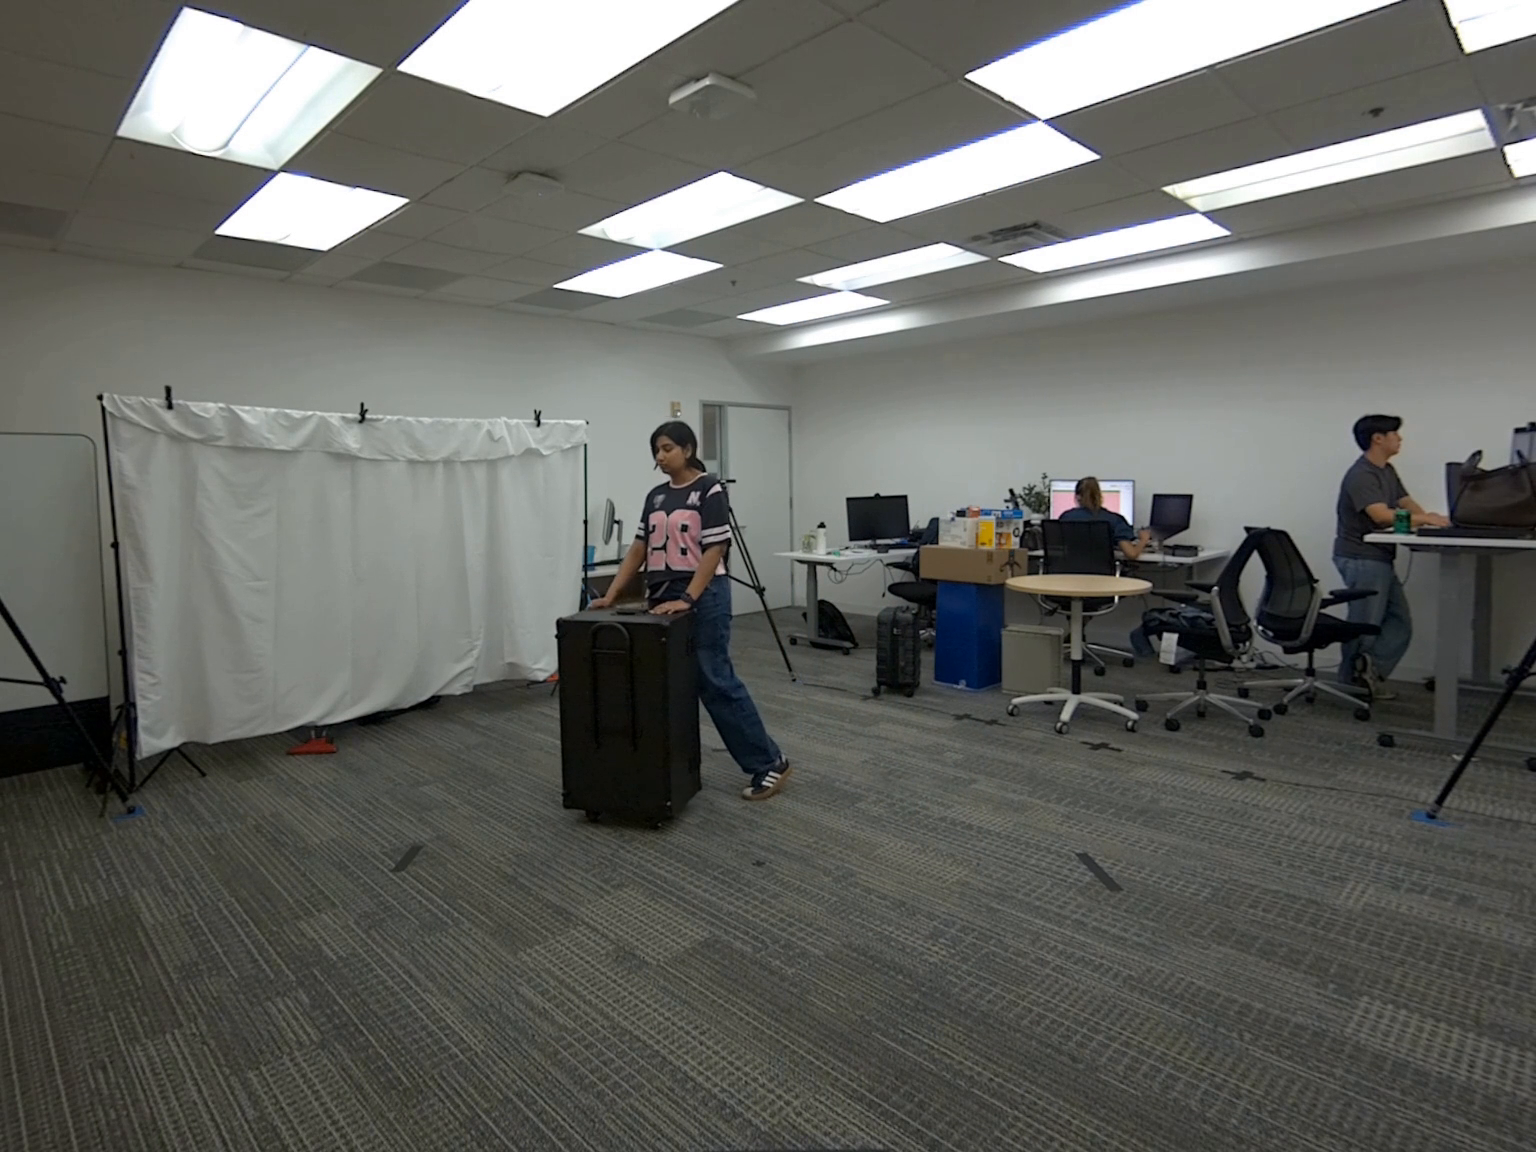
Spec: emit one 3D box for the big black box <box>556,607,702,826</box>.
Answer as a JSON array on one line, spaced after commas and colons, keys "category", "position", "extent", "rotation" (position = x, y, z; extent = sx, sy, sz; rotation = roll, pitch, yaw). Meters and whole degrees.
[{"category": "big black box", "position": [-0.564, 0.586, 3.562], "extent": [0.532, 0.865, 0.381], "rotation": [0, 4, 16]}]
